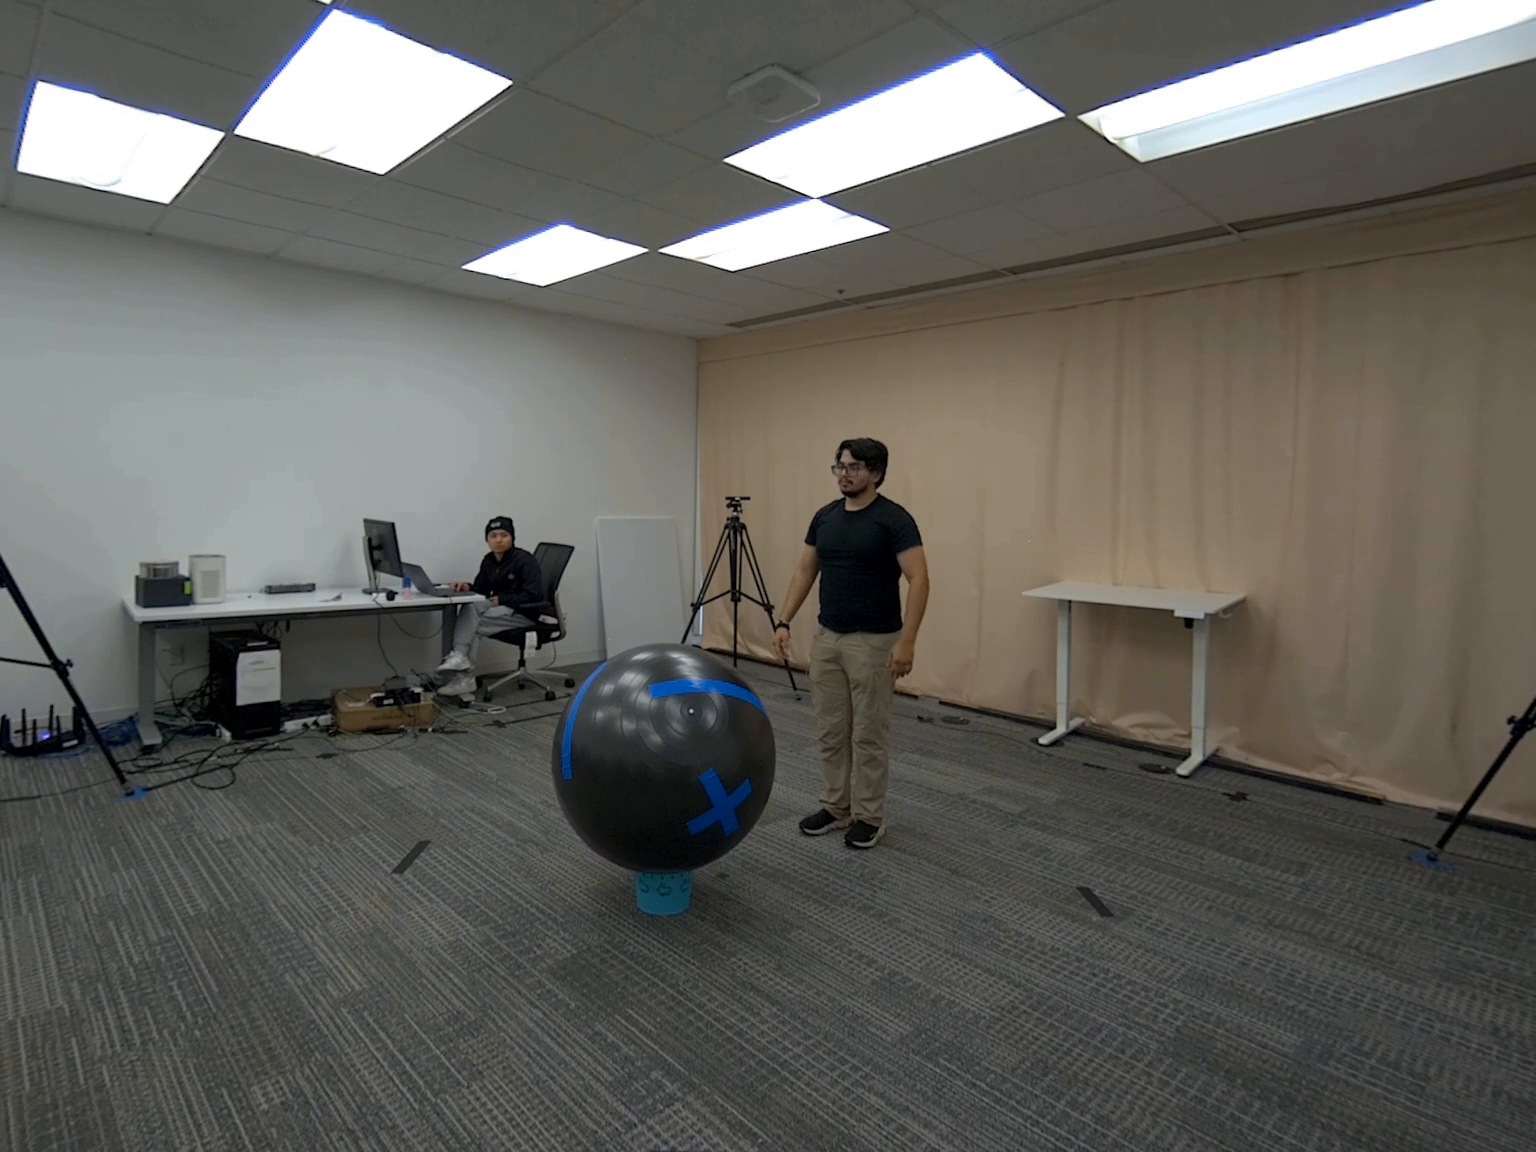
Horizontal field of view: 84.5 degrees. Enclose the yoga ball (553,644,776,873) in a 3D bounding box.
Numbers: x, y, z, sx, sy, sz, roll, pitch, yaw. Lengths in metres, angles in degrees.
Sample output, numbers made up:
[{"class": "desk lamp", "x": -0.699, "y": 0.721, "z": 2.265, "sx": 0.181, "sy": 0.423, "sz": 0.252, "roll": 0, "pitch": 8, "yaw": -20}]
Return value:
[{"class": "yoga ball", "x": -0.354, "y": 0.613, "z": 2.866, "sx": 0.757, "sy": 0.756, "sz": 0.761, "roll": 1, "pitch": 4, "yaw": -1}]
